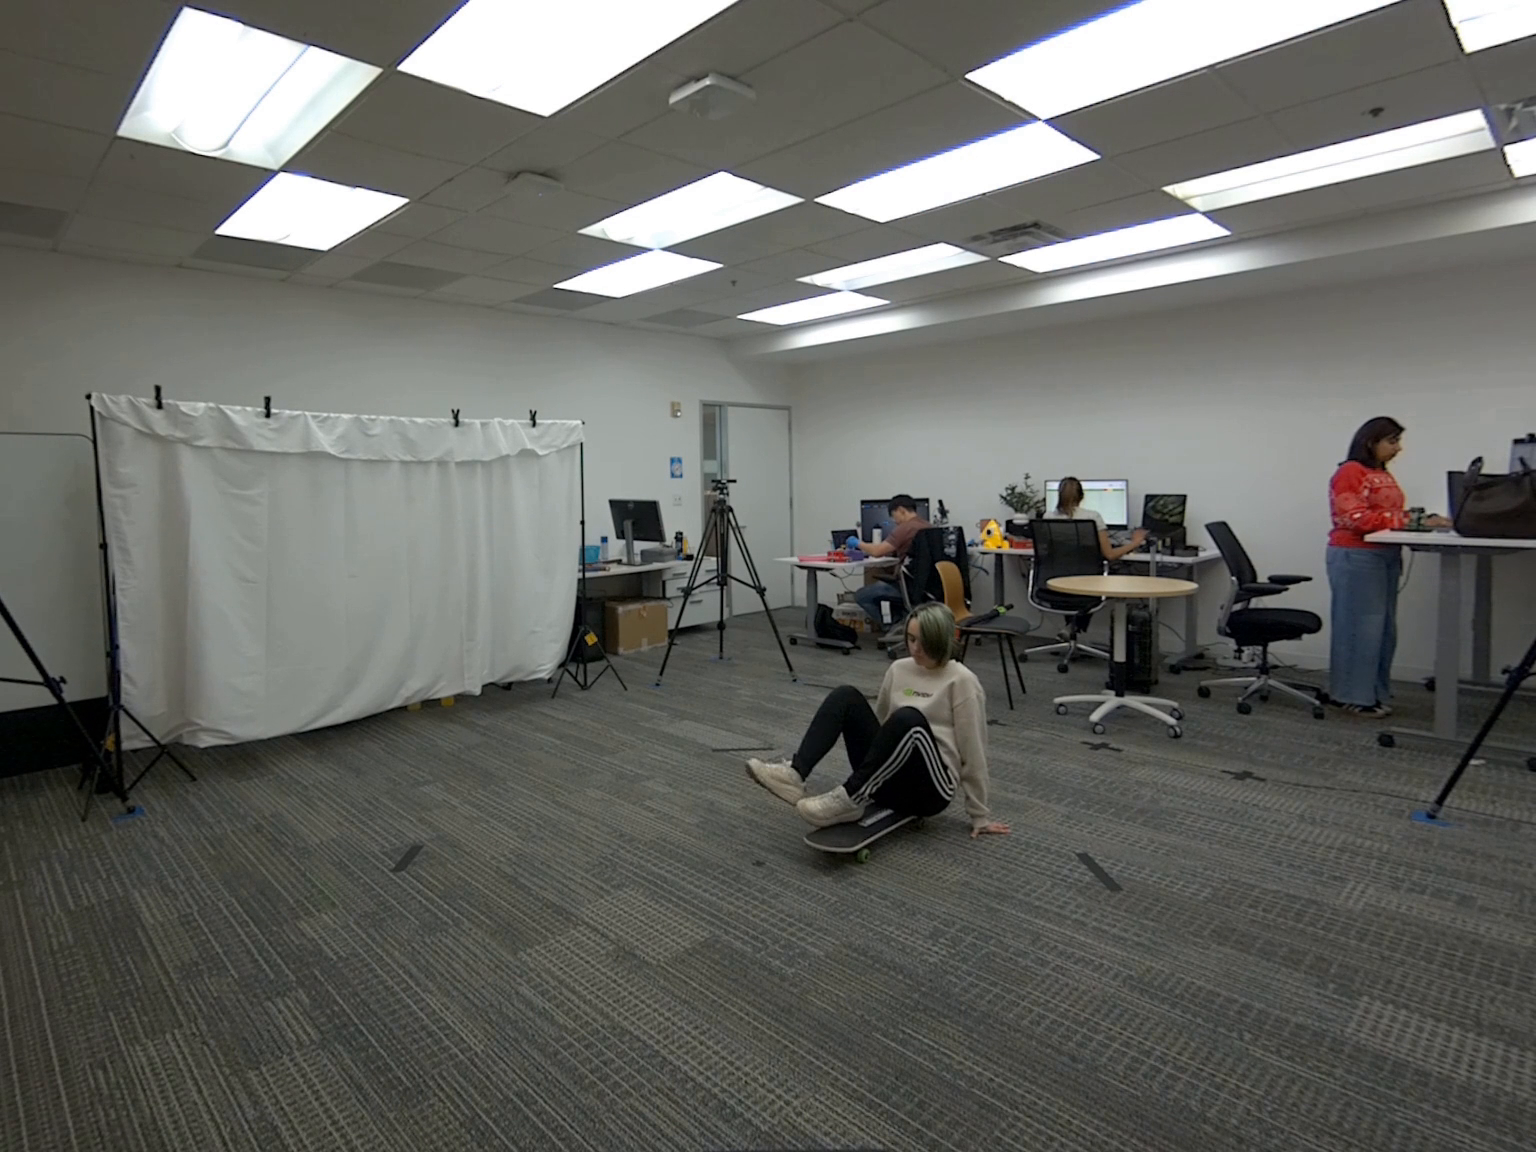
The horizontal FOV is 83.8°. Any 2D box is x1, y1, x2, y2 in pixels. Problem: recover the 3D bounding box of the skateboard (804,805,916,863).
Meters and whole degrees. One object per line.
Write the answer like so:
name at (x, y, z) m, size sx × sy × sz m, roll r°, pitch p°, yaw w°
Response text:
skateboard at (0.416, 0.967, 3.296) m, size 0.199 × 0.110 × 0.765 m, roll 5°, pitch 8°, yaw 41°
